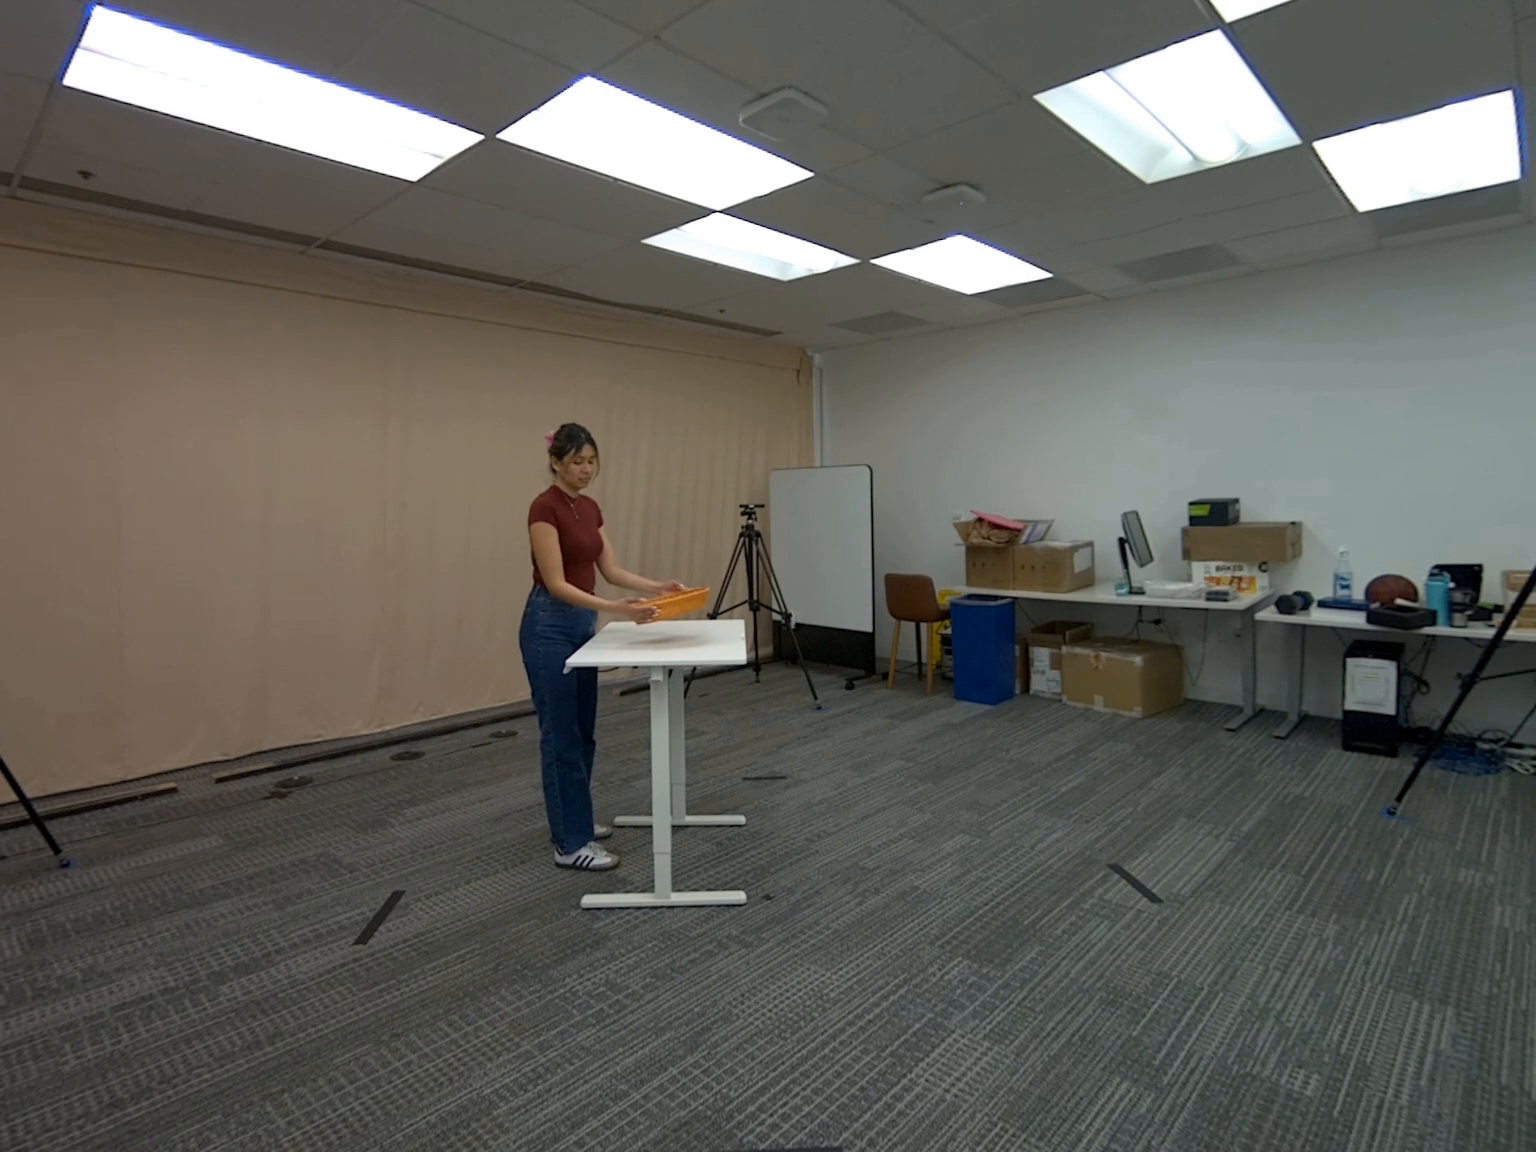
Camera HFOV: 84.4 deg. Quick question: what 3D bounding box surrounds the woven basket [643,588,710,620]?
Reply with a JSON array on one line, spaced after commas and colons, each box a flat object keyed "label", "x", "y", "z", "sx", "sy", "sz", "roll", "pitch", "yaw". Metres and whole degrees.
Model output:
[{"label": "woven basket", "x": -0.376, "y": 0.119, "z": 3.172, "sx": 0.343, "sy": 0.073, "sz": 0.258, "roll": -12, "pitch": 4, "yaw": -26}]
